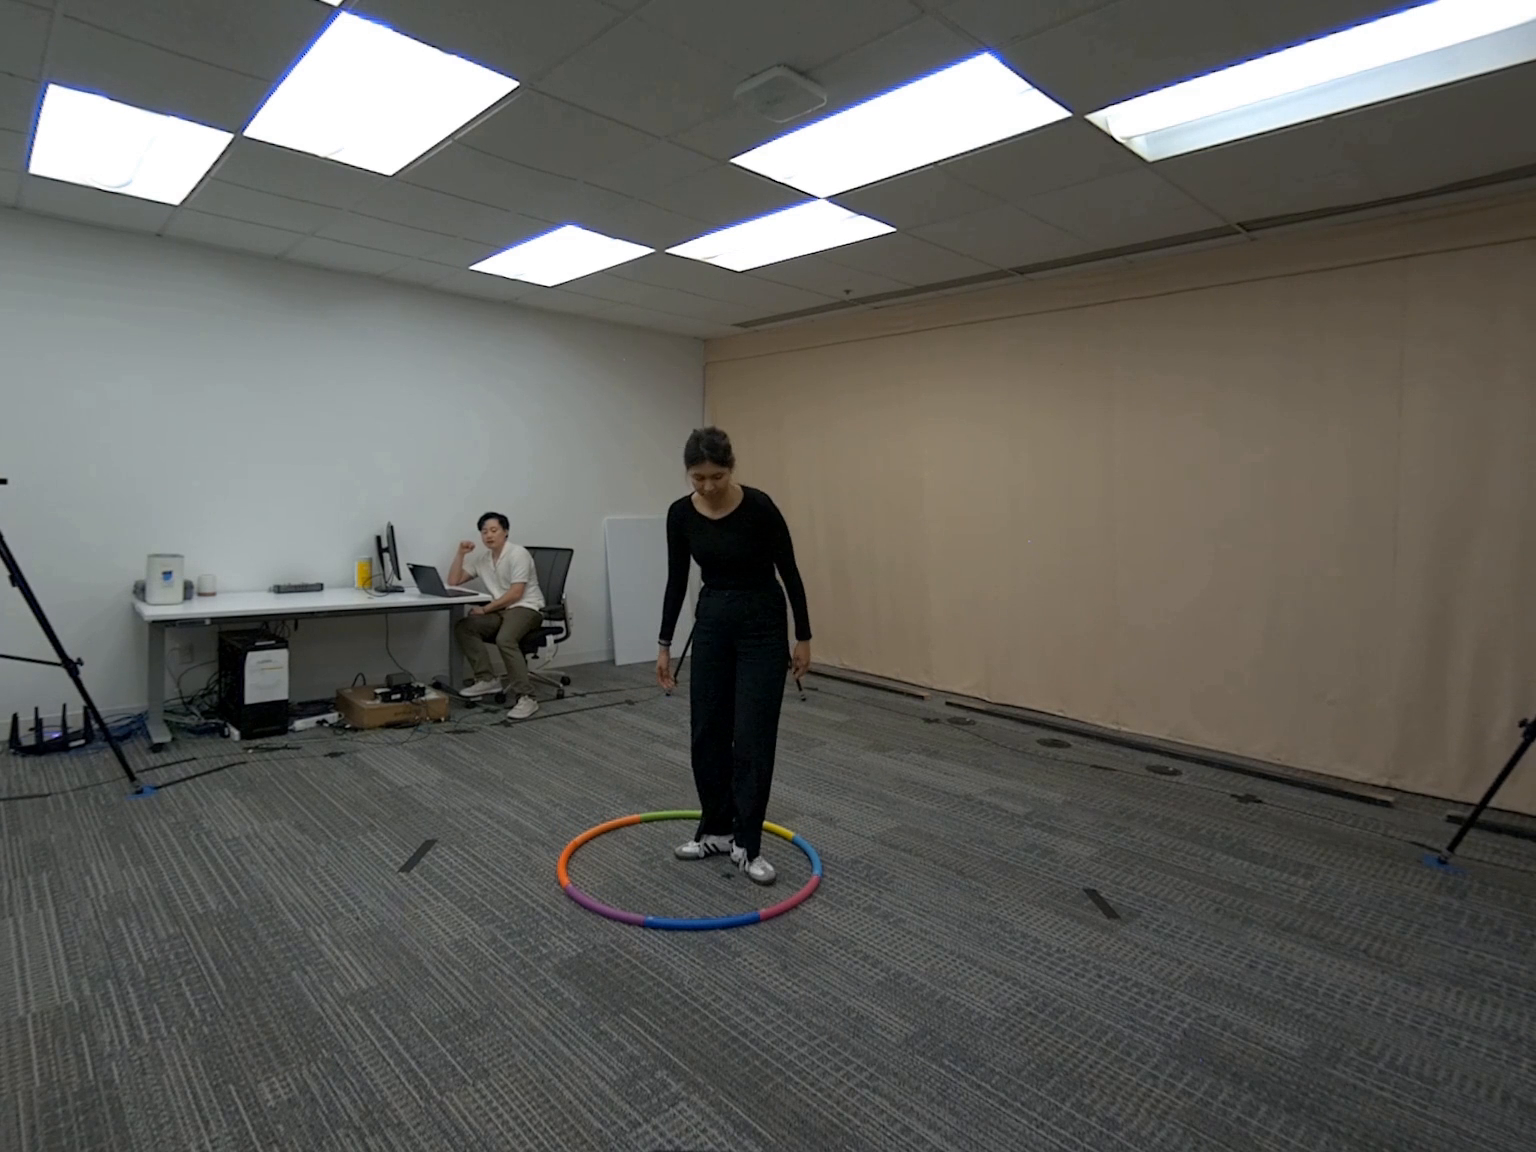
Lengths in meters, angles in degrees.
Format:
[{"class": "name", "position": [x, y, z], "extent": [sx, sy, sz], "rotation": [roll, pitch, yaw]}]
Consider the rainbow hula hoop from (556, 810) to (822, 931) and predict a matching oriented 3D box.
[{"class": "rainbow hula hoop", "position": [-0.297, 1.069, 3.181], "extent": [0.978, 0.035, 0.983], "rotation": [1, 6, -1]}]
